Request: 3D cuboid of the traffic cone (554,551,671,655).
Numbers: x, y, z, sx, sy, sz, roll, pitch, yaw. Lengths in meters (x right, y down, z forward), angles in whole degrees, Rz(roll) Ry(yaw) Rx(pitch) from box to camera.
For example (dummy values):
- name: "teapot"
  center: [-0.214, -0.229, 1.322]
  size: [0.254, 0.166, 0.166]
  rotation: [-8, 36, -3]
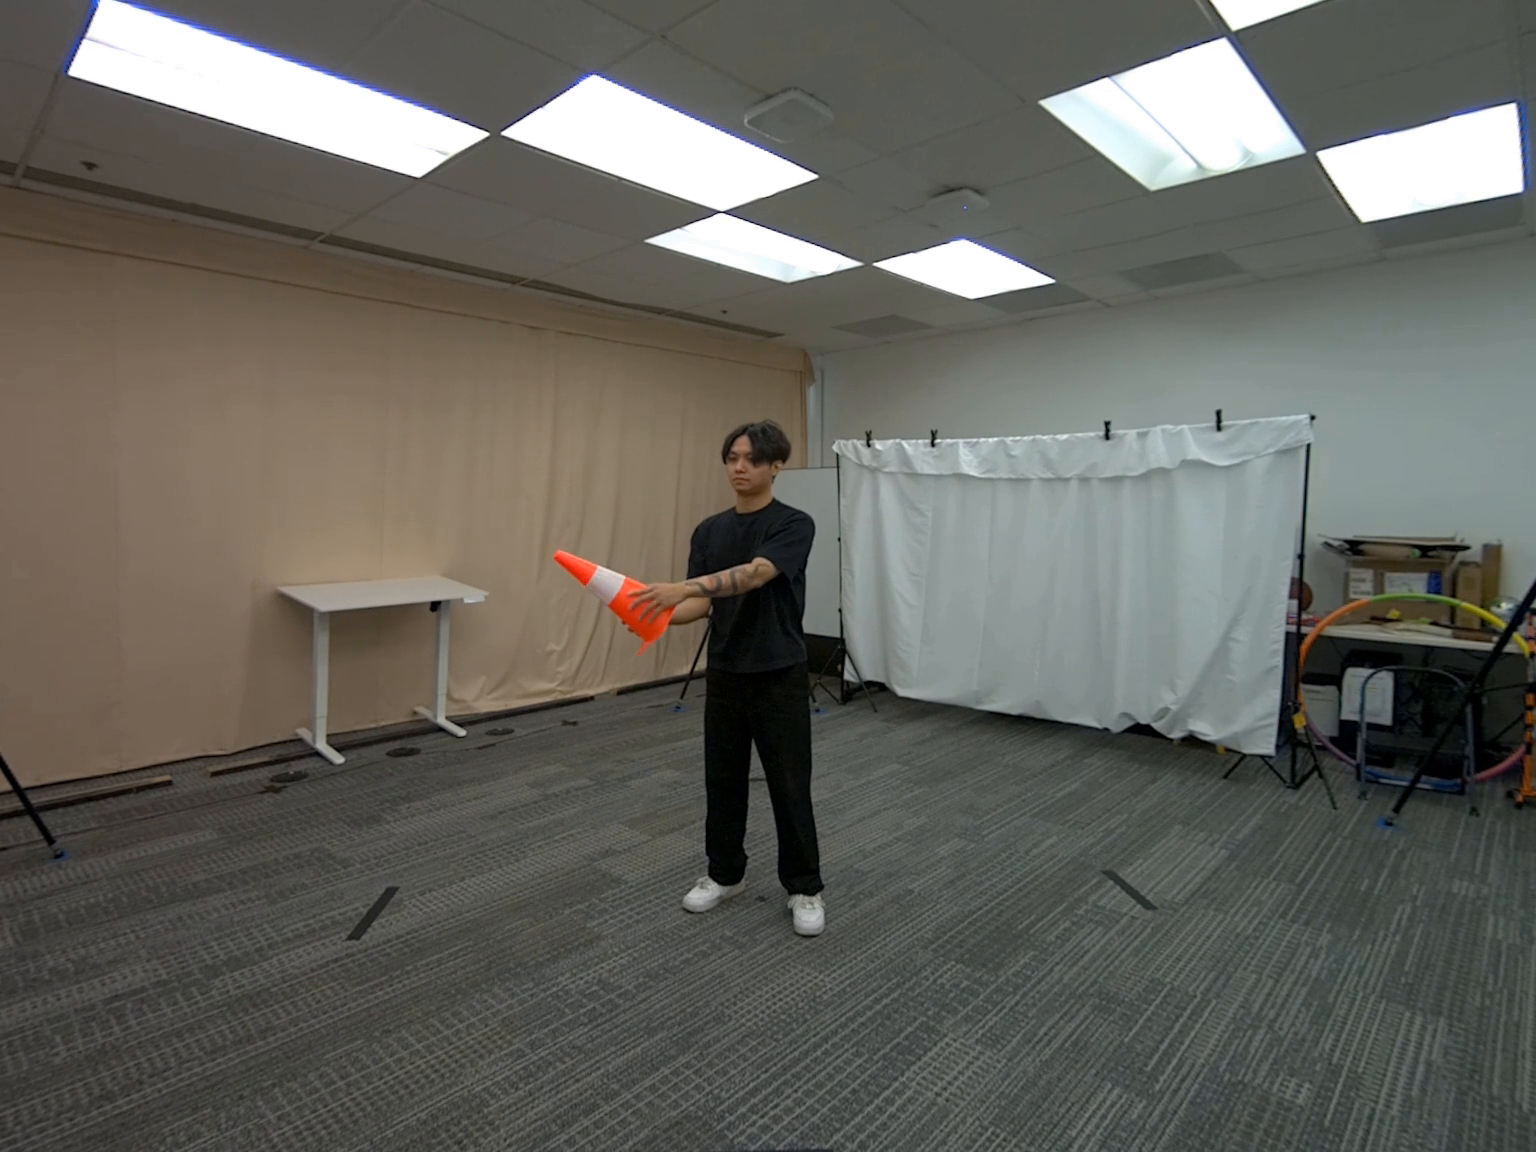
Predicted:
- name: "traffic cone"
  center: [-0.478, 0.039, 2.547]
  size: [0.377, 0.206, 0.206]
  rotation: [33, -39, -14]
